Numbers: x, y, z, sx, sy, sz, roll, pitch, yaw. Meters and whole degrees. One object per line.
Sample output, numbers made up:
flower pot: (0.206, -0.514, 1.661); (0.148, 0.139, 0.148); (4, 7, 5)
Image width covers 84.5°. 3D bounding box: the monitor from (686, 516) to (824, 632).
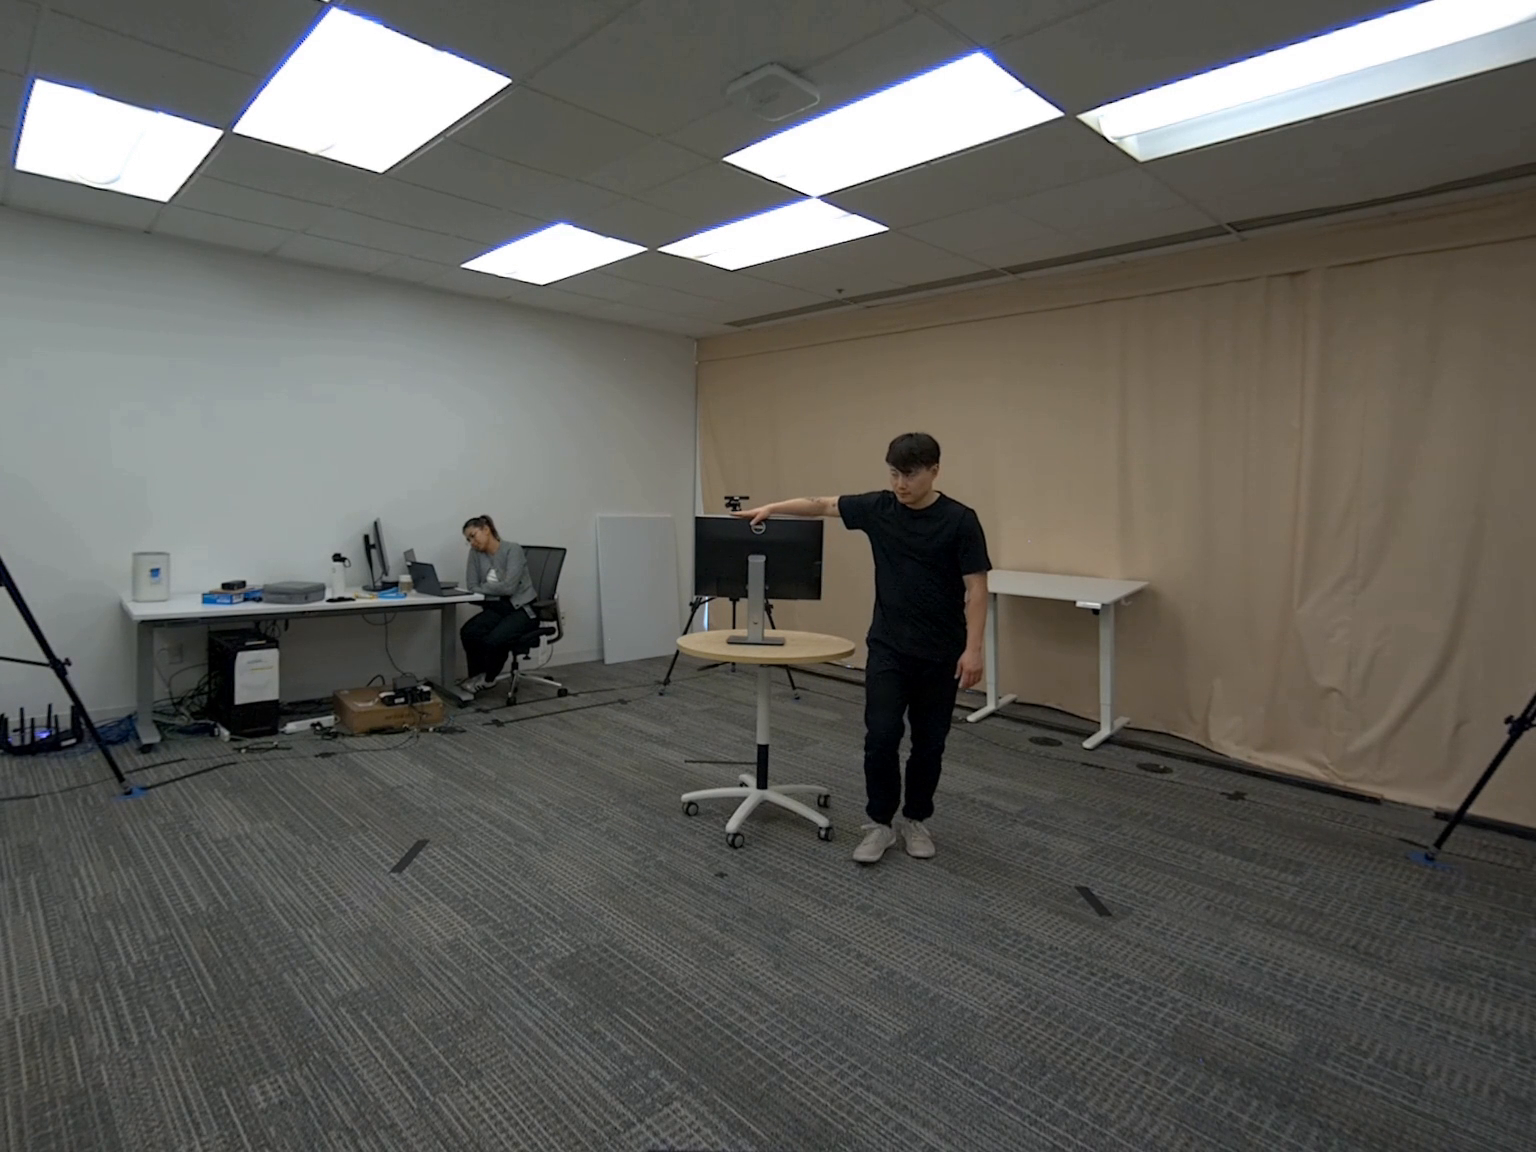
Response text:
monitor: (-0.055, 0.019, 3.612); (0.540, 0.522, 0.187); (2, 1, 2)
